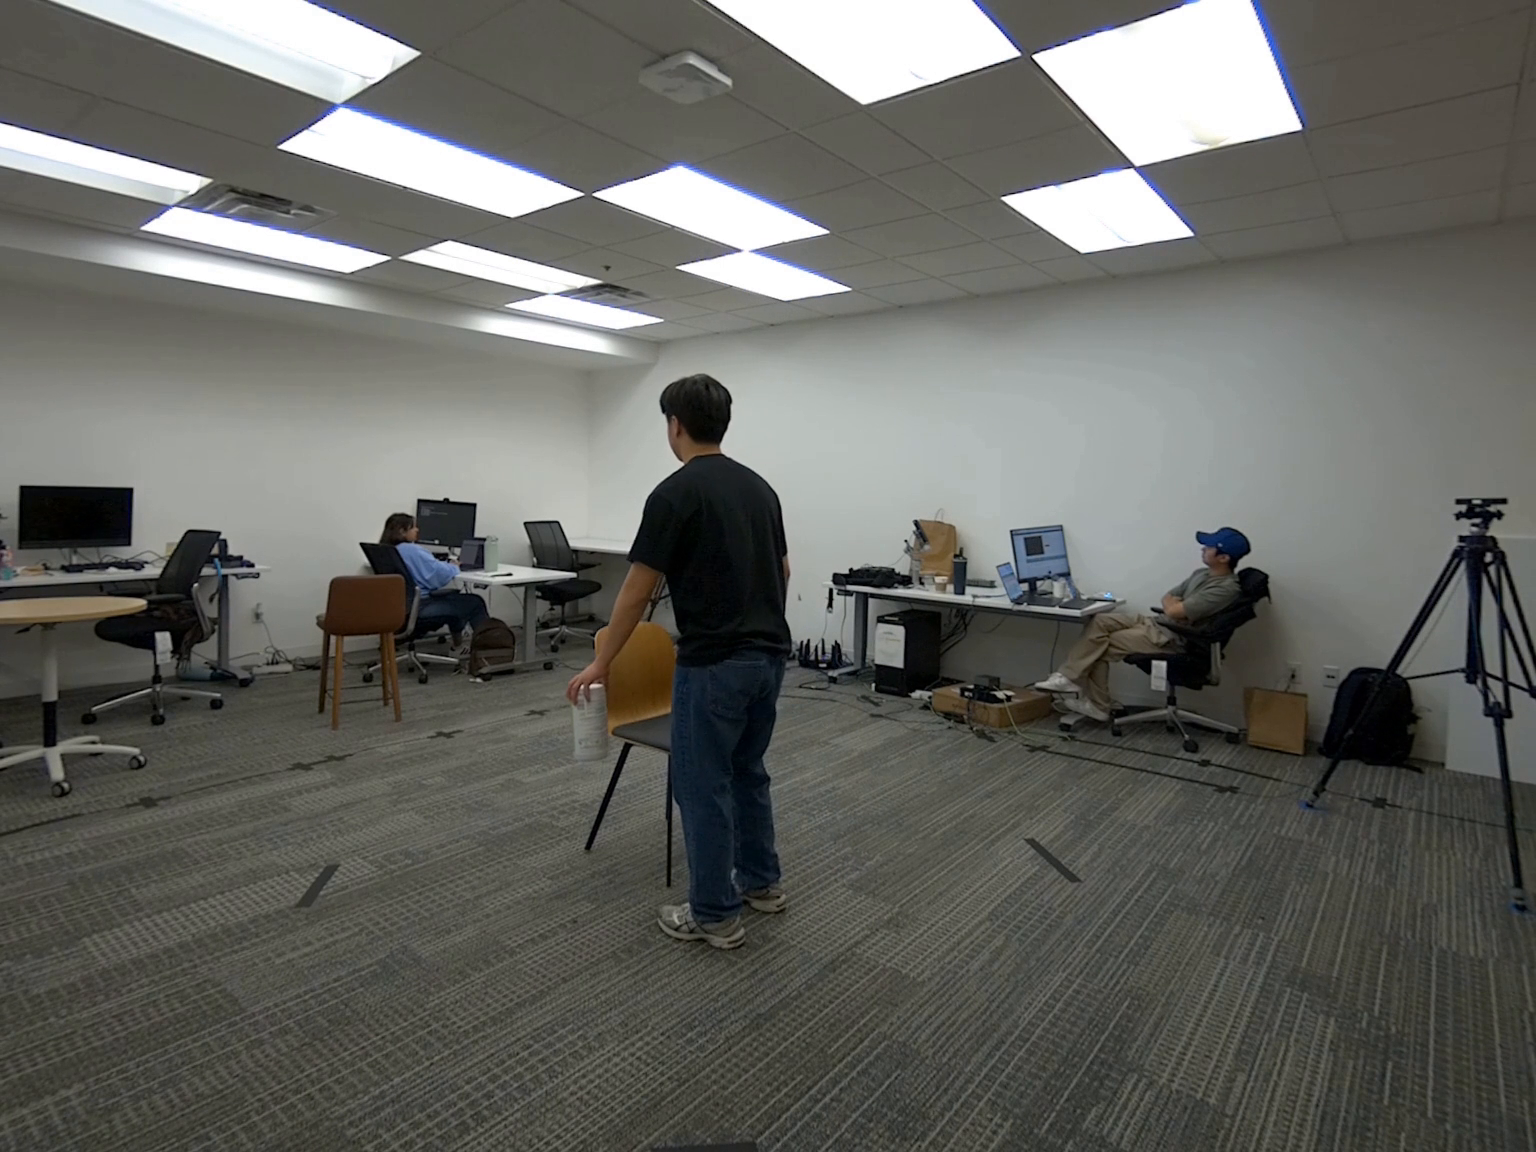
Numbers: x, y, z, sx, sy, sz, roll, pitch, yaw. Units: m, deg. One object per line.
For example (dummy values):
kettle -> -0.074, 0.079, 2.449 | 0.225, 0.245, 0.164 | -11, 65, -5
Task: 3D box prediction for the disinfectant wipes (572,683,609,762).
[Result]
disinfectant wipes -> -0.552, 0.441, 2.590 | 0.118, 0.218, 0.118 | -3, -2, -2
